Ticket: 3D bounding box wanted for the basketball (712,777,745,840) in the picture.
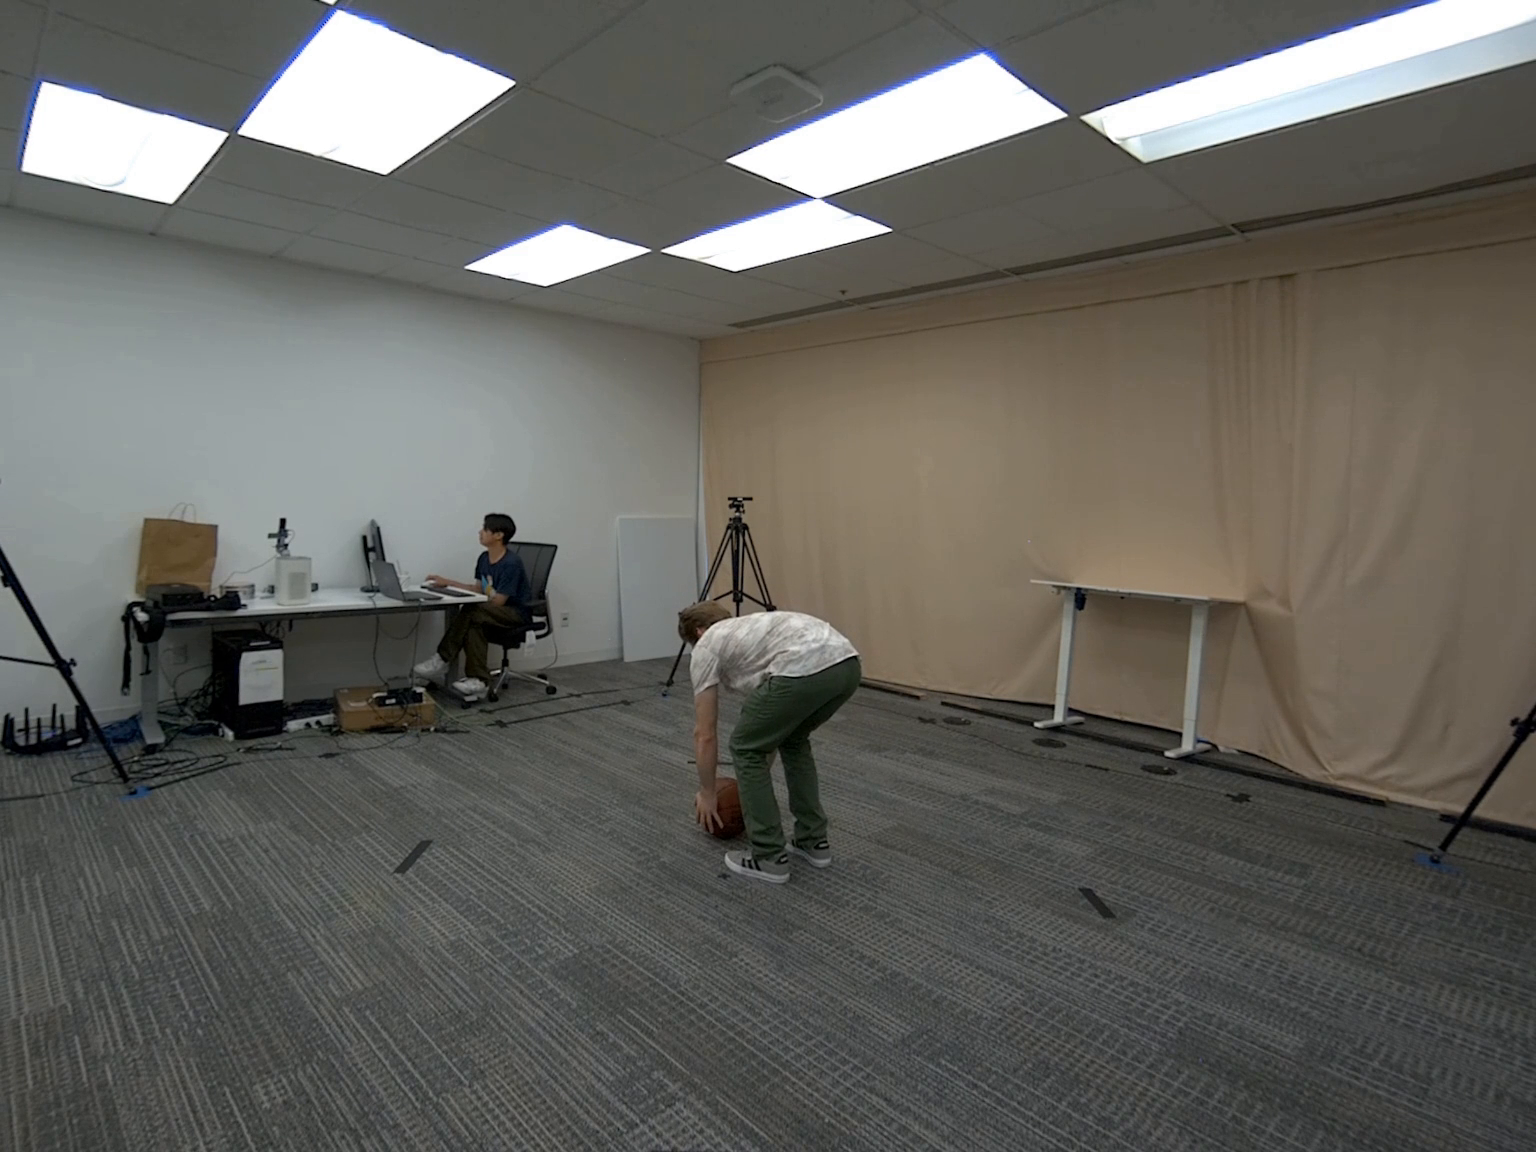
[{"bbox_3d":[-0.177,0.947,3.473,0.236,0.235,0.237,1,4,-1],"label":"basketball"}]
